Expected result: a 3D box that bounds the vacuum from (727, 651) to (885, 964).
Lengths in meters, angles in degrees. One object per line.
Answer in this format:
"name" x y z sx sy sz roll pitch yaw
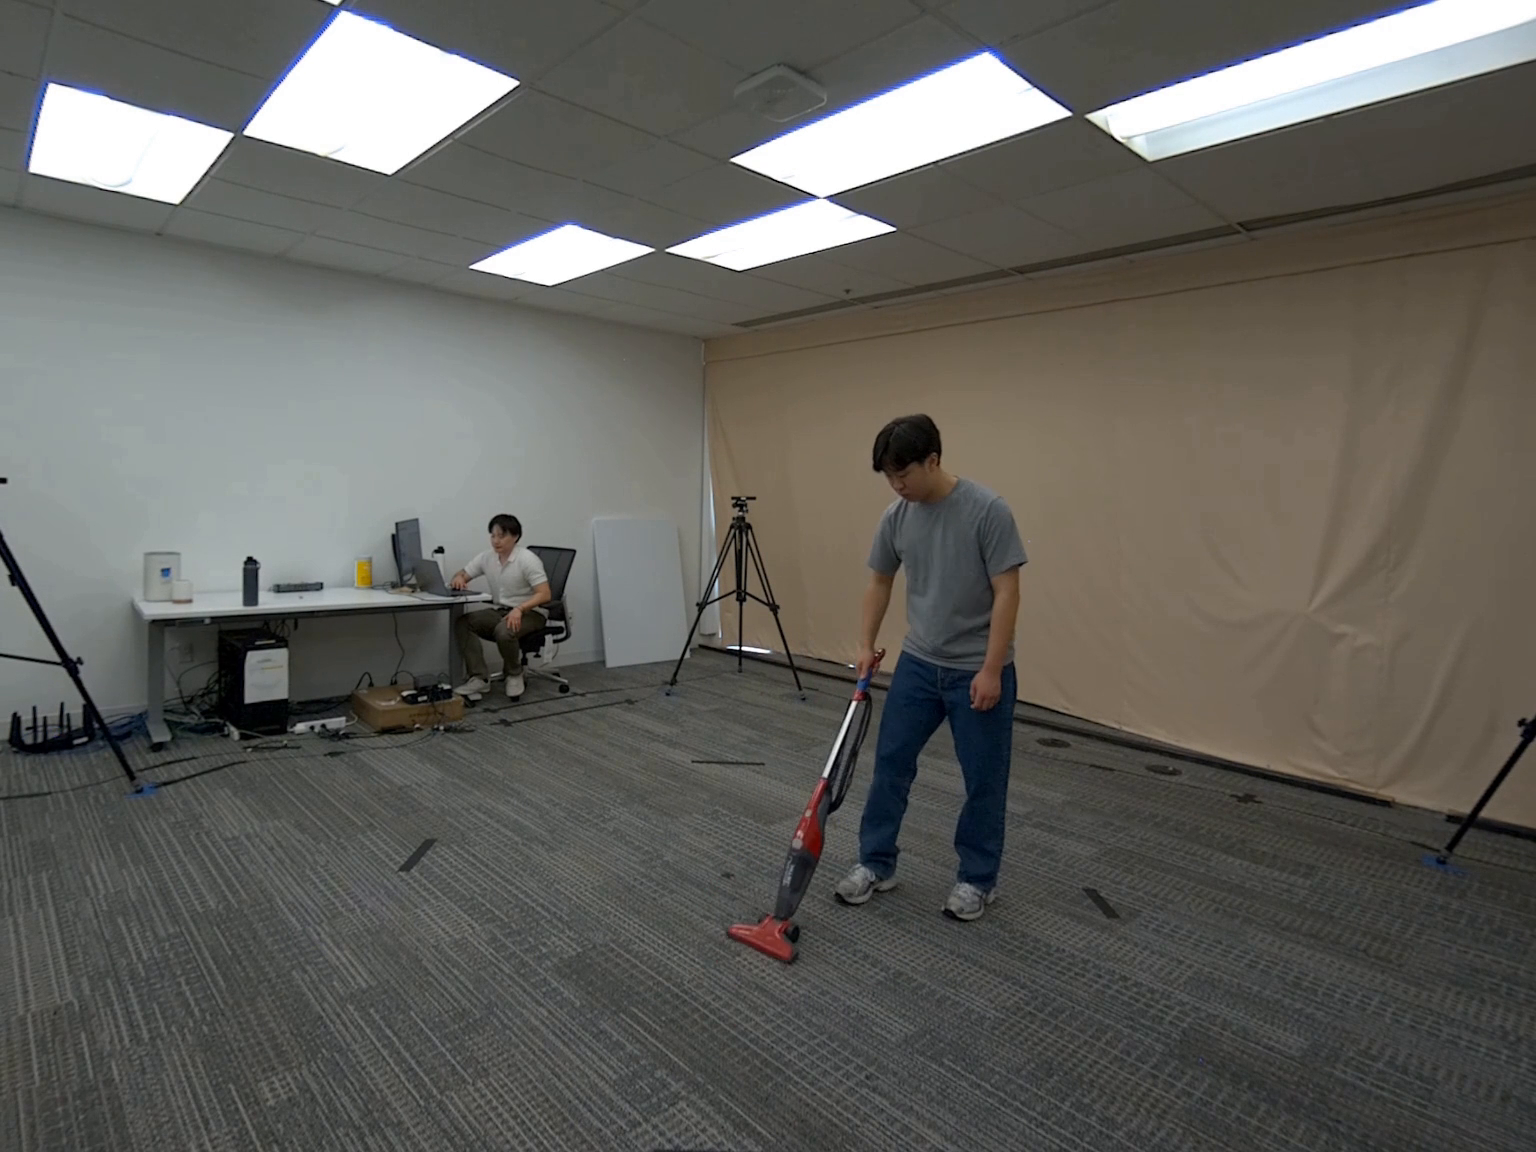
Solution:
"vacuum" 0.194 0.721 2.848 0.259 1.057 0.139 5 -32 36
